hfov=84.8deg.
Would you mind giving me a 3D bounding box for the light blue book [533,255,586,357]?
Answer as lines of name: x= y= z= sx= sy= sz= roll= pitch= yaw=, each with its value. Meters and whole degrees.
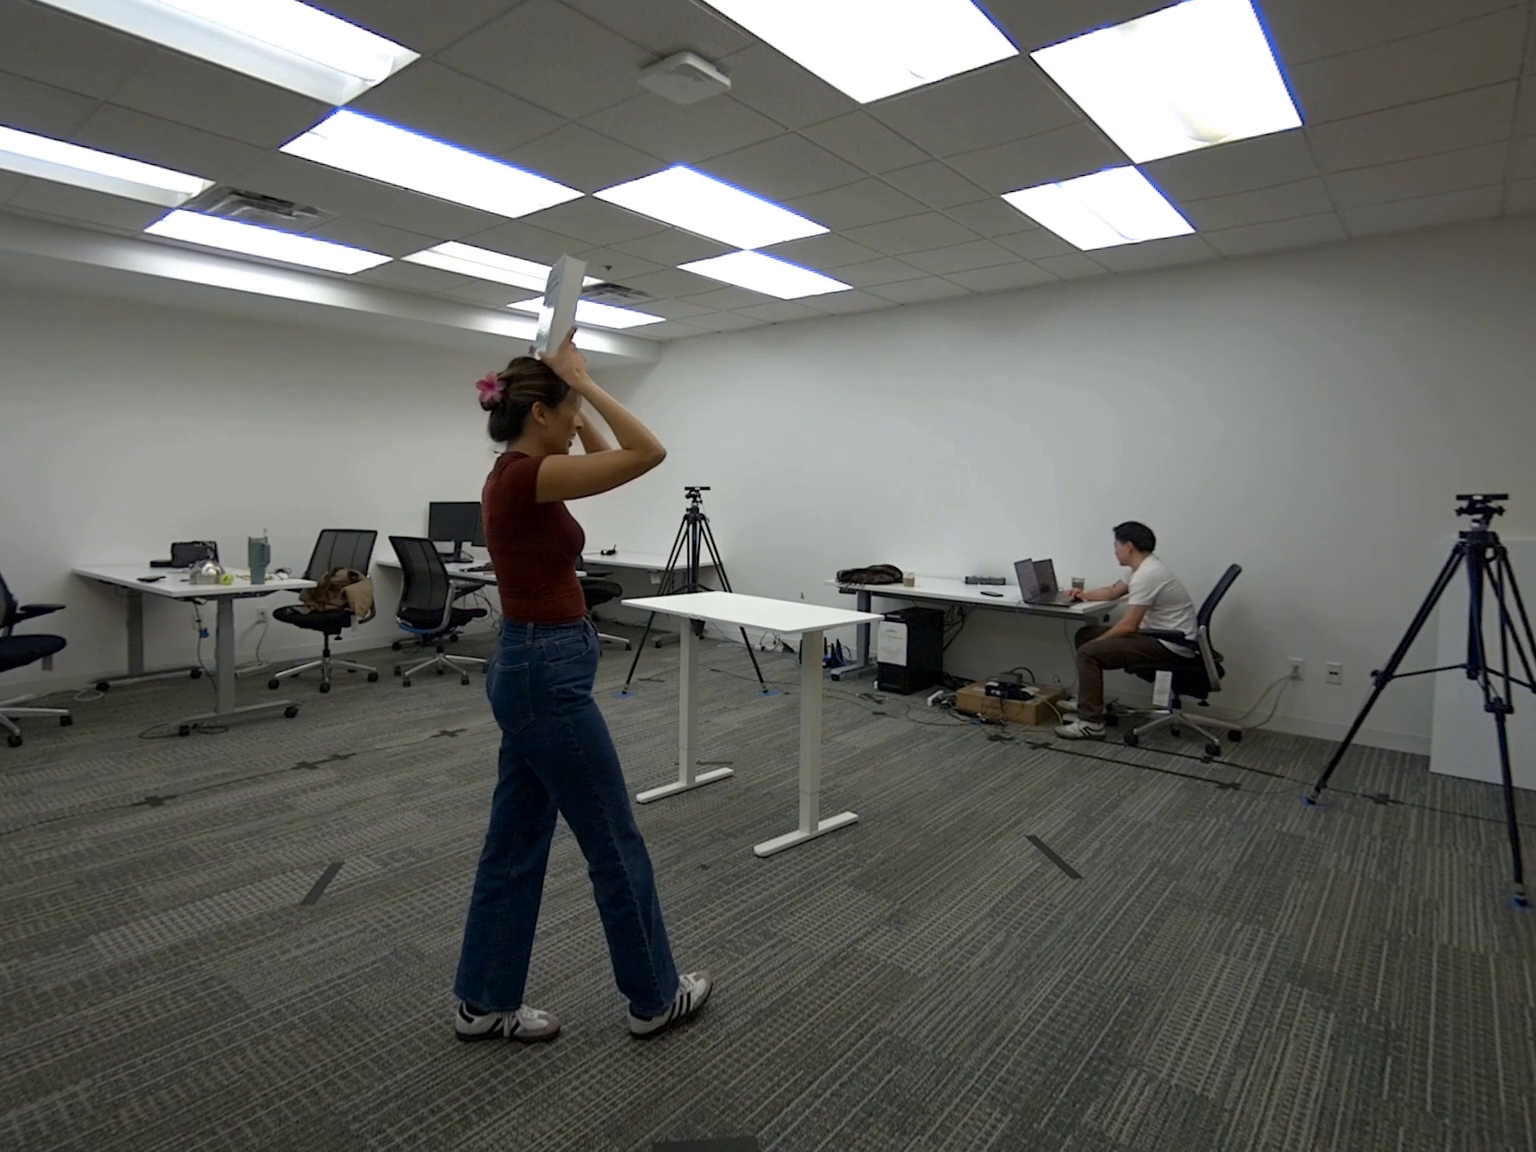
light blue book: x=-0.534 y=-0.651 z=2.132 sx=0.057 sy=0.262 sz=0.196 roll=10 pitch=-3 yaw=-26
